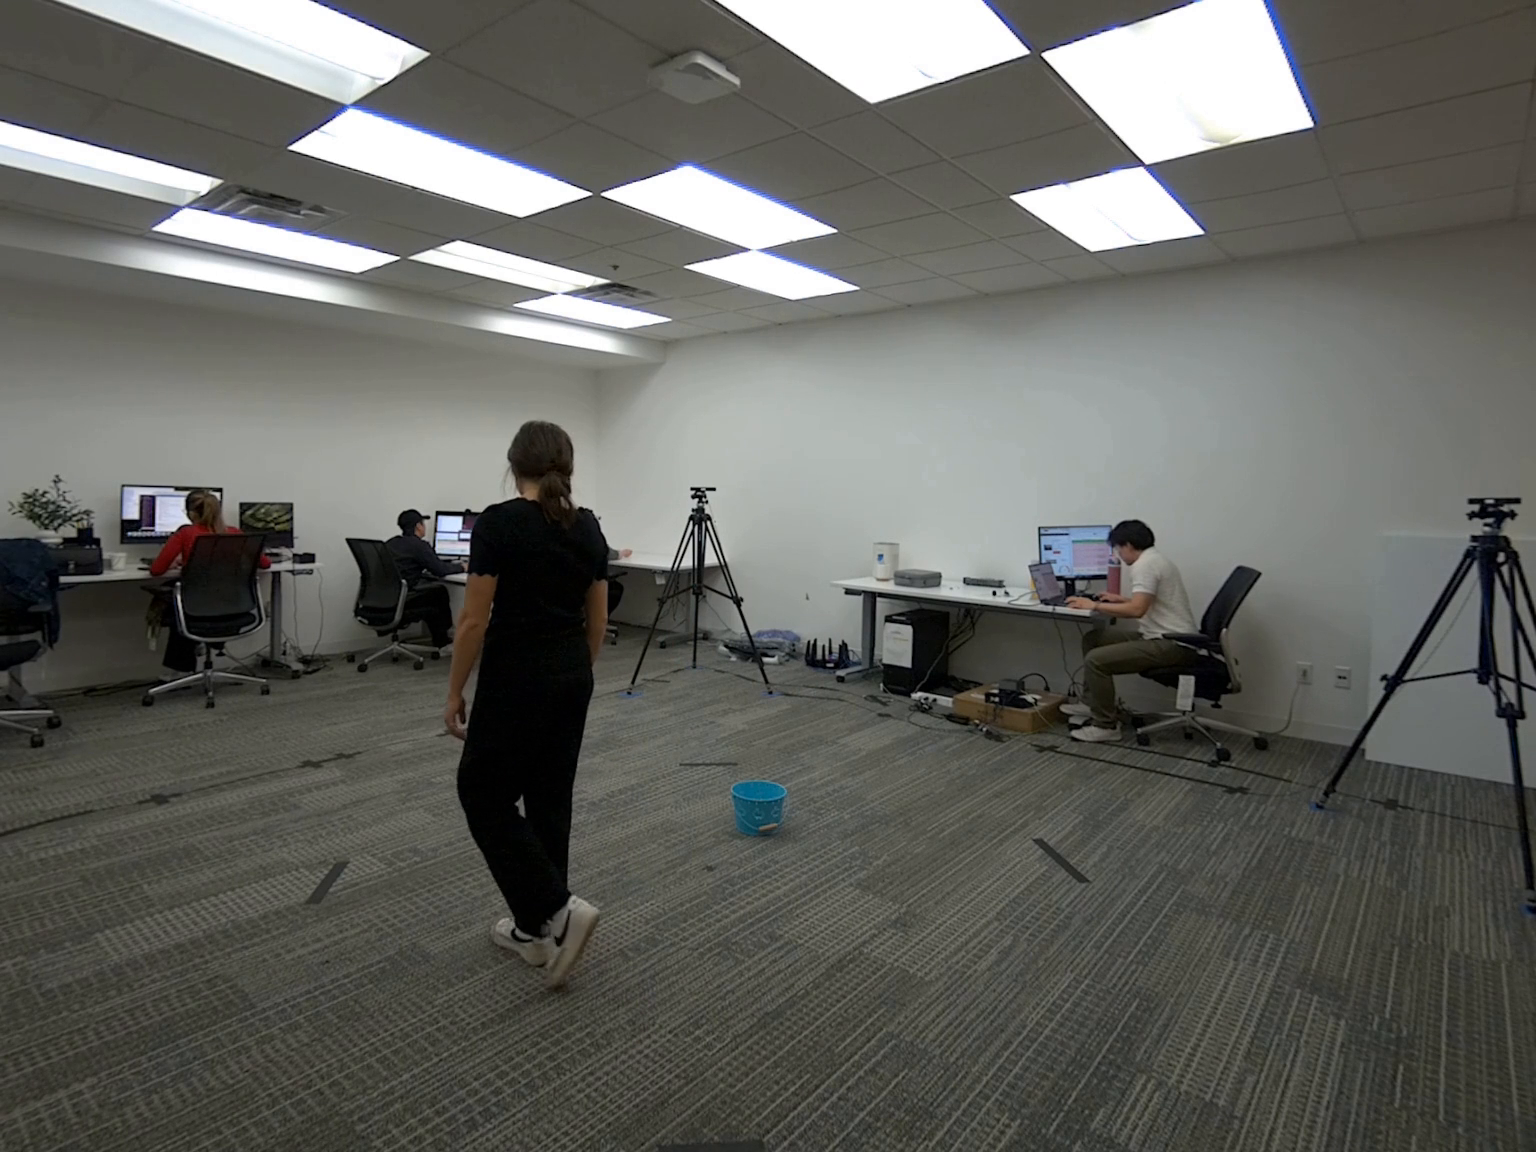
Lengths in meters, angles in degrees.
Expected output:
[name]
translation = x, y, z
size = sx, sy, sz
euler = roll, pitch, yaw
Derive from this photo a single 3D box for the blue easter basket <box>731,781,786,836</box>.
[blue easter basket]
translation = -0.046, 0.949, 3.500
size = 0.243, 0.155, 0.245
euler = 1, 4, -2
